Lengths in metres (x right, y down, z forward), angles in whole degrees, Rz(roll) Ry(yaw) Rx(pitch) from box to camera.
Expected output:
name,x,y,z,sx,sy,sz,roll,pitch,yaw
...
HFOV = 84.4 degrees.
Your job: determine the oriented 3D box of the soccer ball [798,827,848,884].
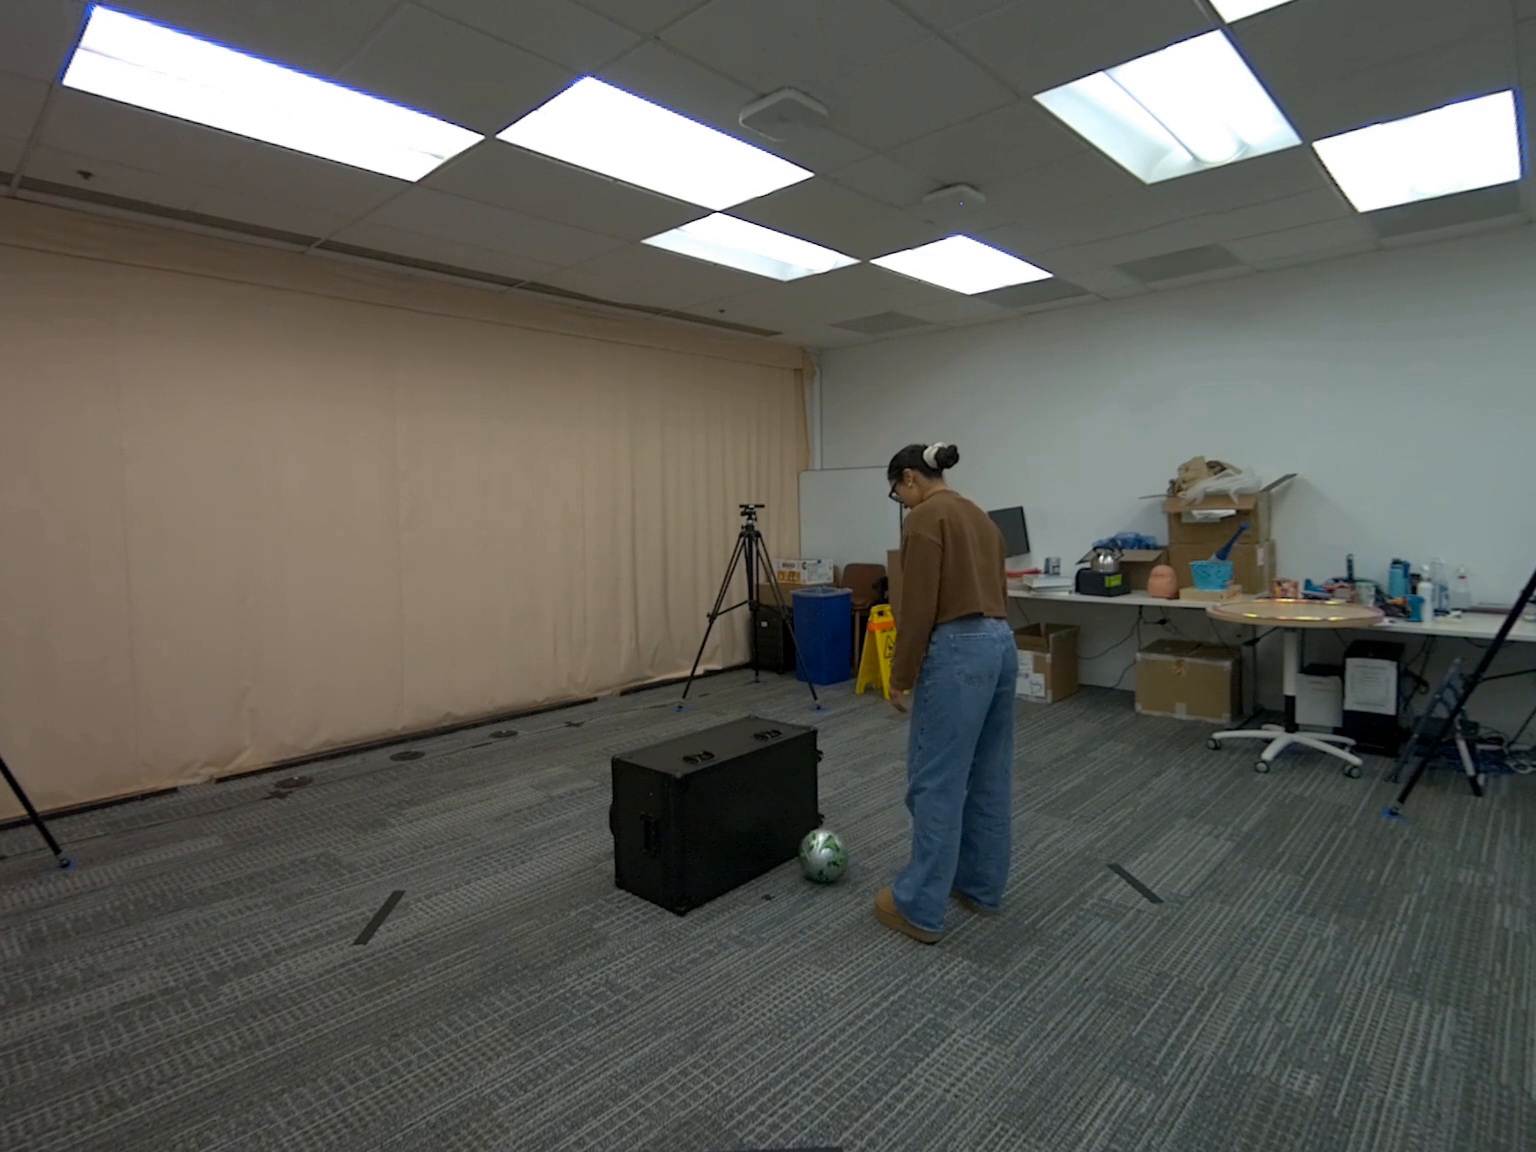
name,x,y,z,sx,sy,sz,roll,pitch,yaw
soccer ball,0.197,1.020,3.102,0.187,0.187,0.188,-1,4,-2
